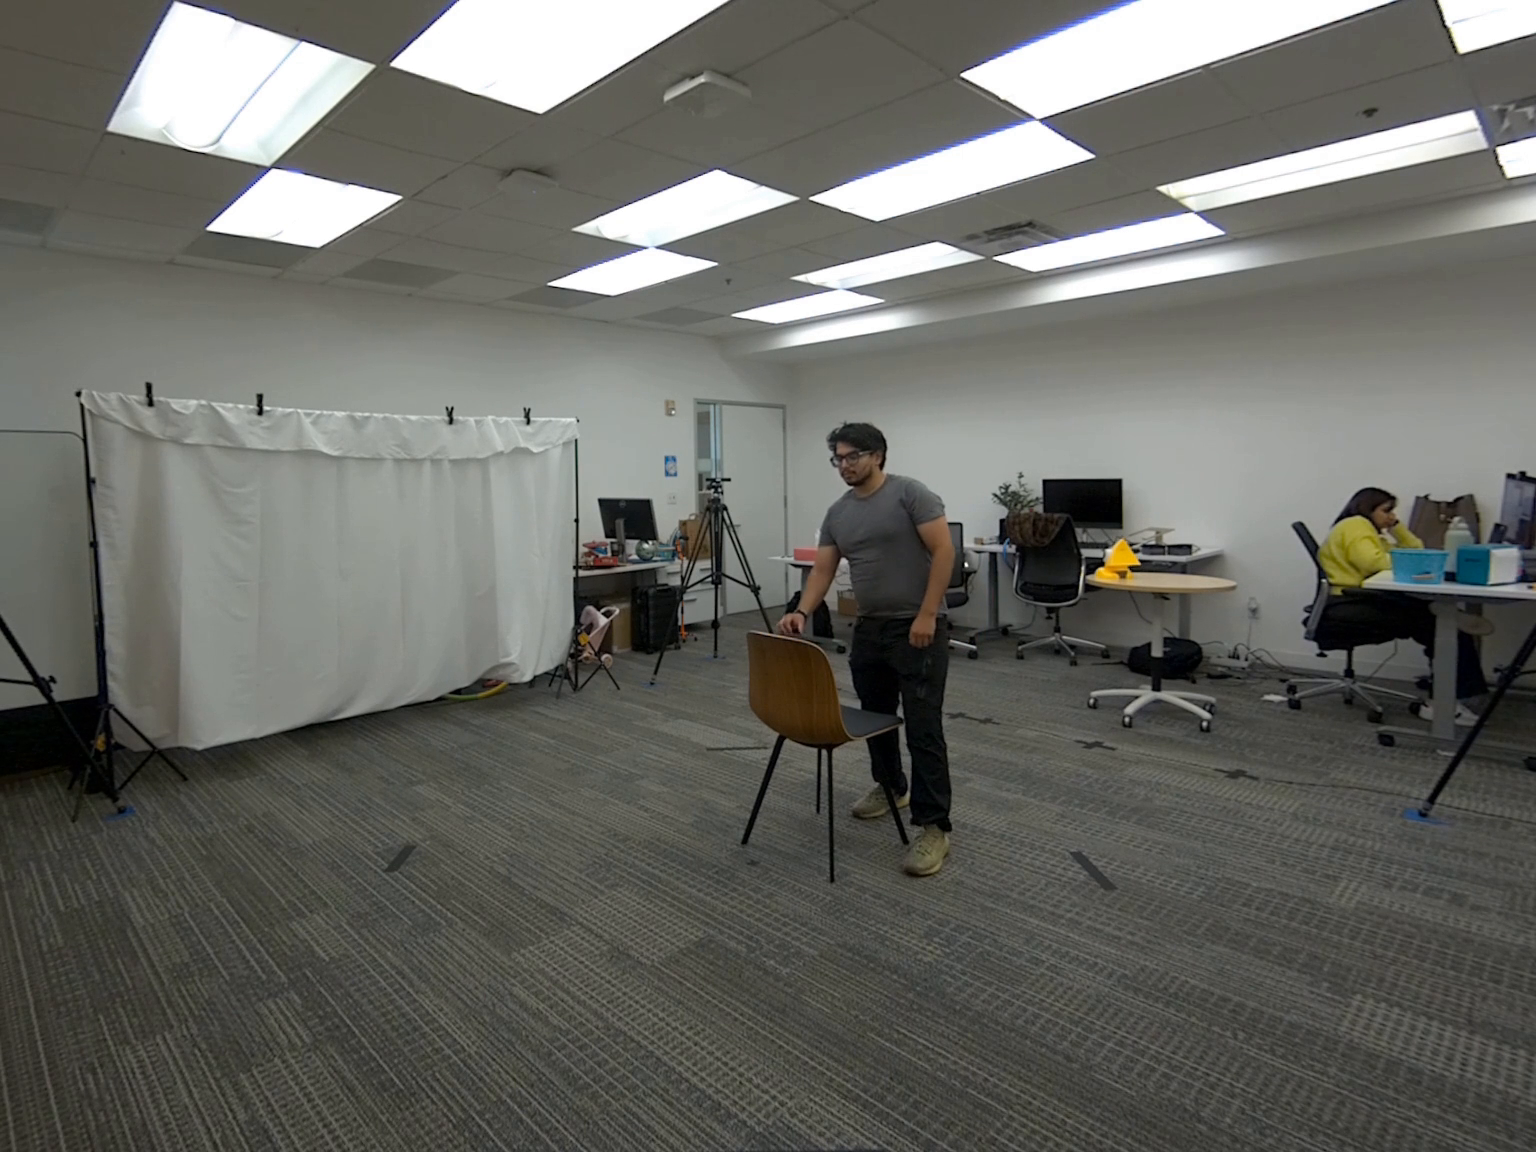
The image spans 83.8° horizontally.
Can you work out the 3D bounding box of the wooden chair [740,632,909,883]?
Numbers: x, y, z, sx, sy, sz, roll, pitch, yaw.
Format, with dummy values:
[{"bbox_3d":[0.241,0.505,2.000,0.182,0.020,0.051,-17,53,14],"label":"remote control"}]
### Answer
[{"bbox_3d":[0.210,0.596,3.225,0.511,0.871,0.493,-11,10,-44],"label":"wooden chair"}]
